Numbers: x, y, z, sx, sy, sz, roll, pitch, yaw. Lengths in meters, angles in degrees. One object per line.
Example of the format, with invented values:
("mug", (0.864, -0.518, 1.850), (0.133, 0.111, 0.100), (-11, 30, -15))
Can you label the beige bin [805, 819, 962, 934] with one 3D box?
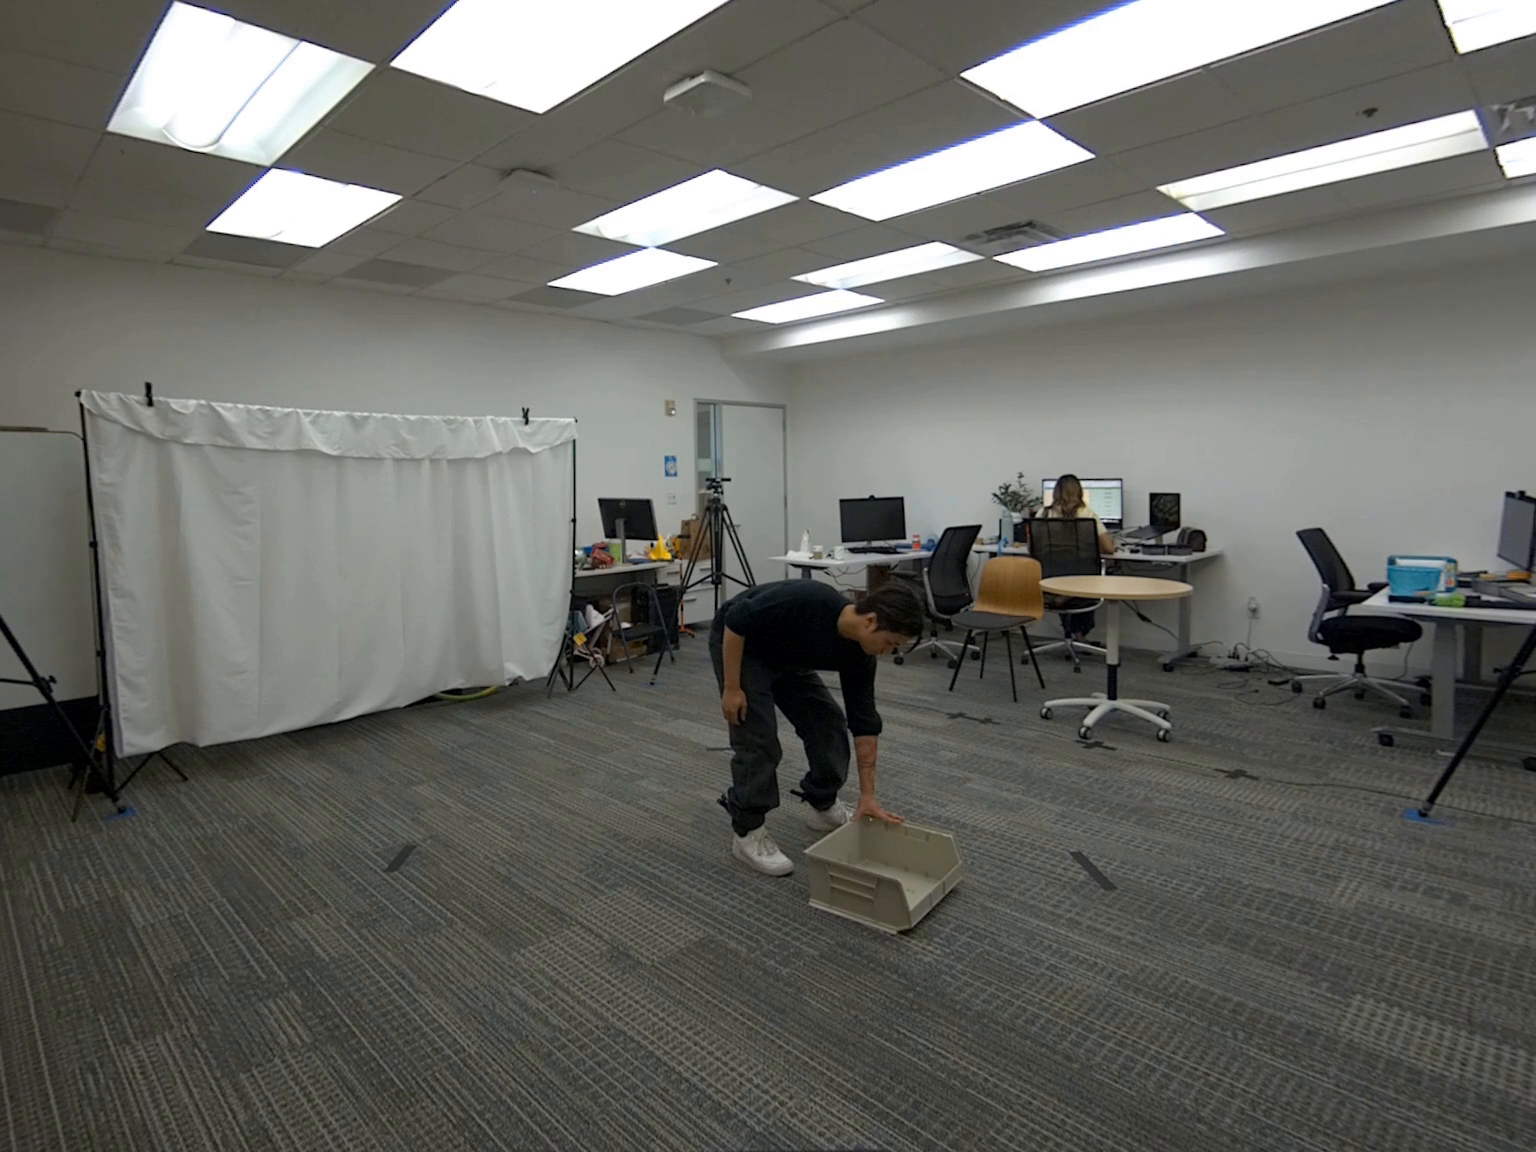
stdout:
("beige bin", (0.394, 0.980, 2.834), (0.388, 0.188, 0.412), (2, 7, 36))
